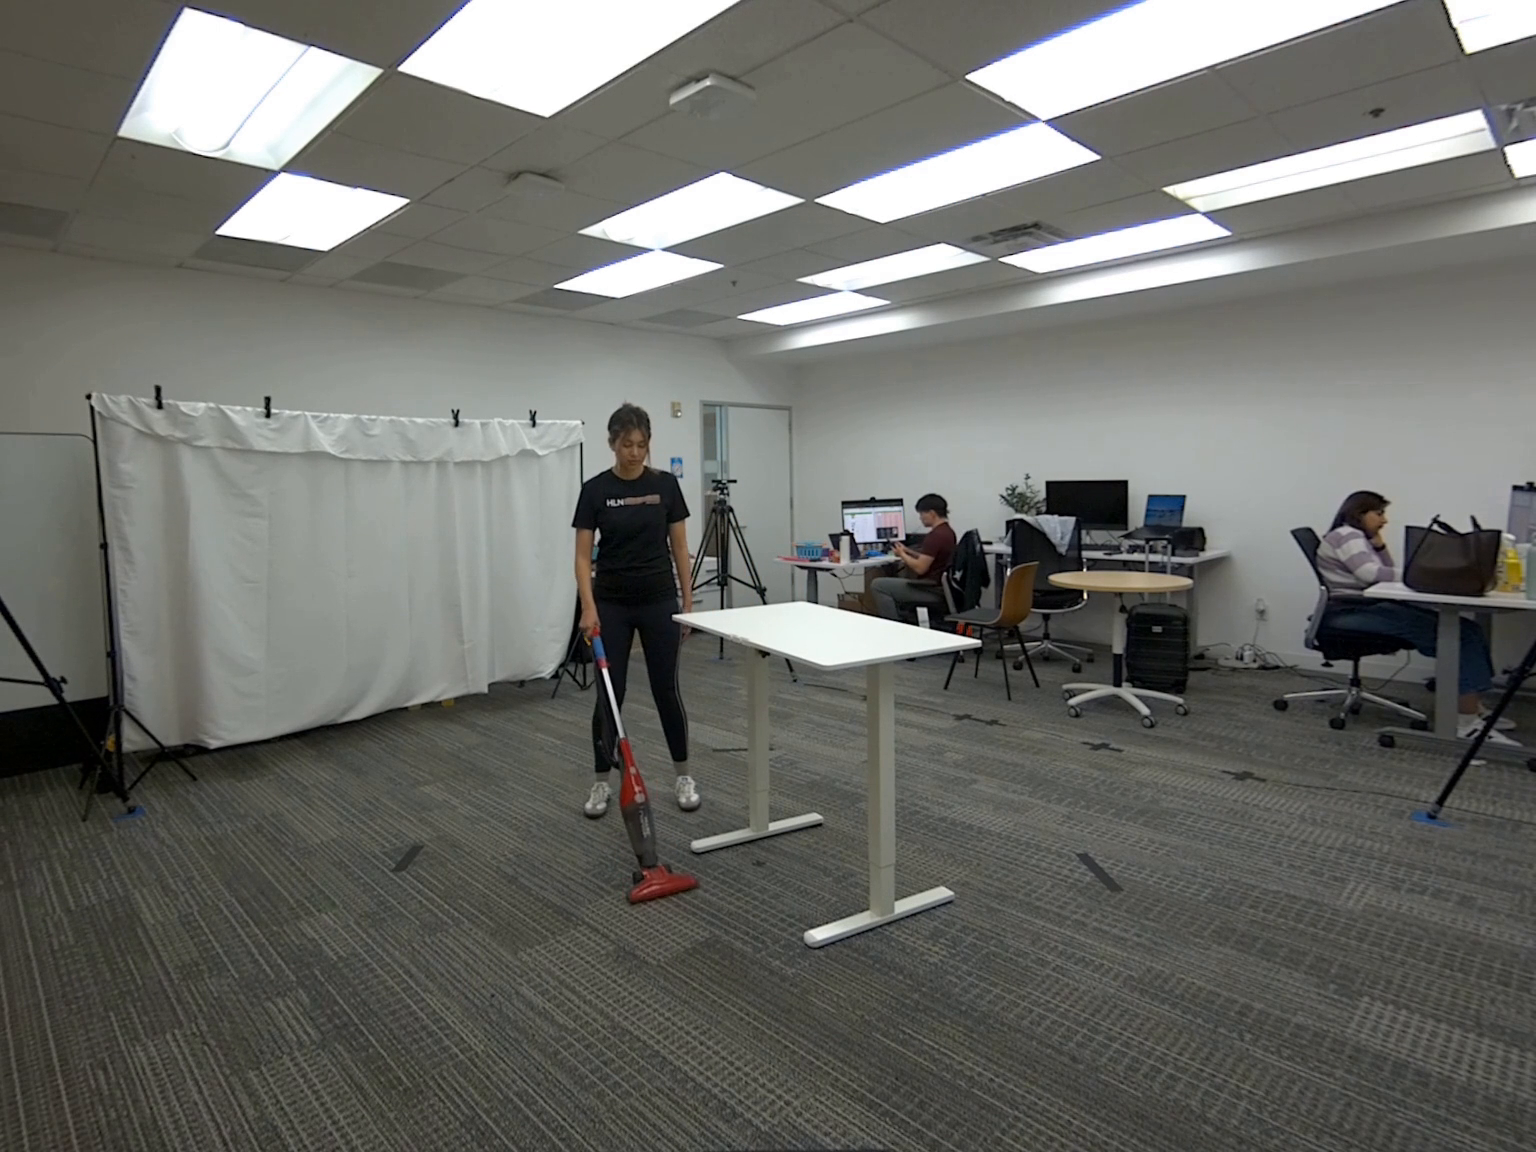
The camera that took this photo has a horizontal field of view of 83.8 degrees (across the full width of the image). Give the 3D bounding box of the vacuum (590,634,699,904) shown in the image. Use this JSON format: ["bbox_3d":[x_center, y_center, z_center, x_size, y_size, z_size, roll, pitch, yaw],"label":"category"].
[{"bbox_3d":[-0.547,0.646,3.202,0.247,1.084,0.142,-5,-35,-28],"label":"vacuum"}]
